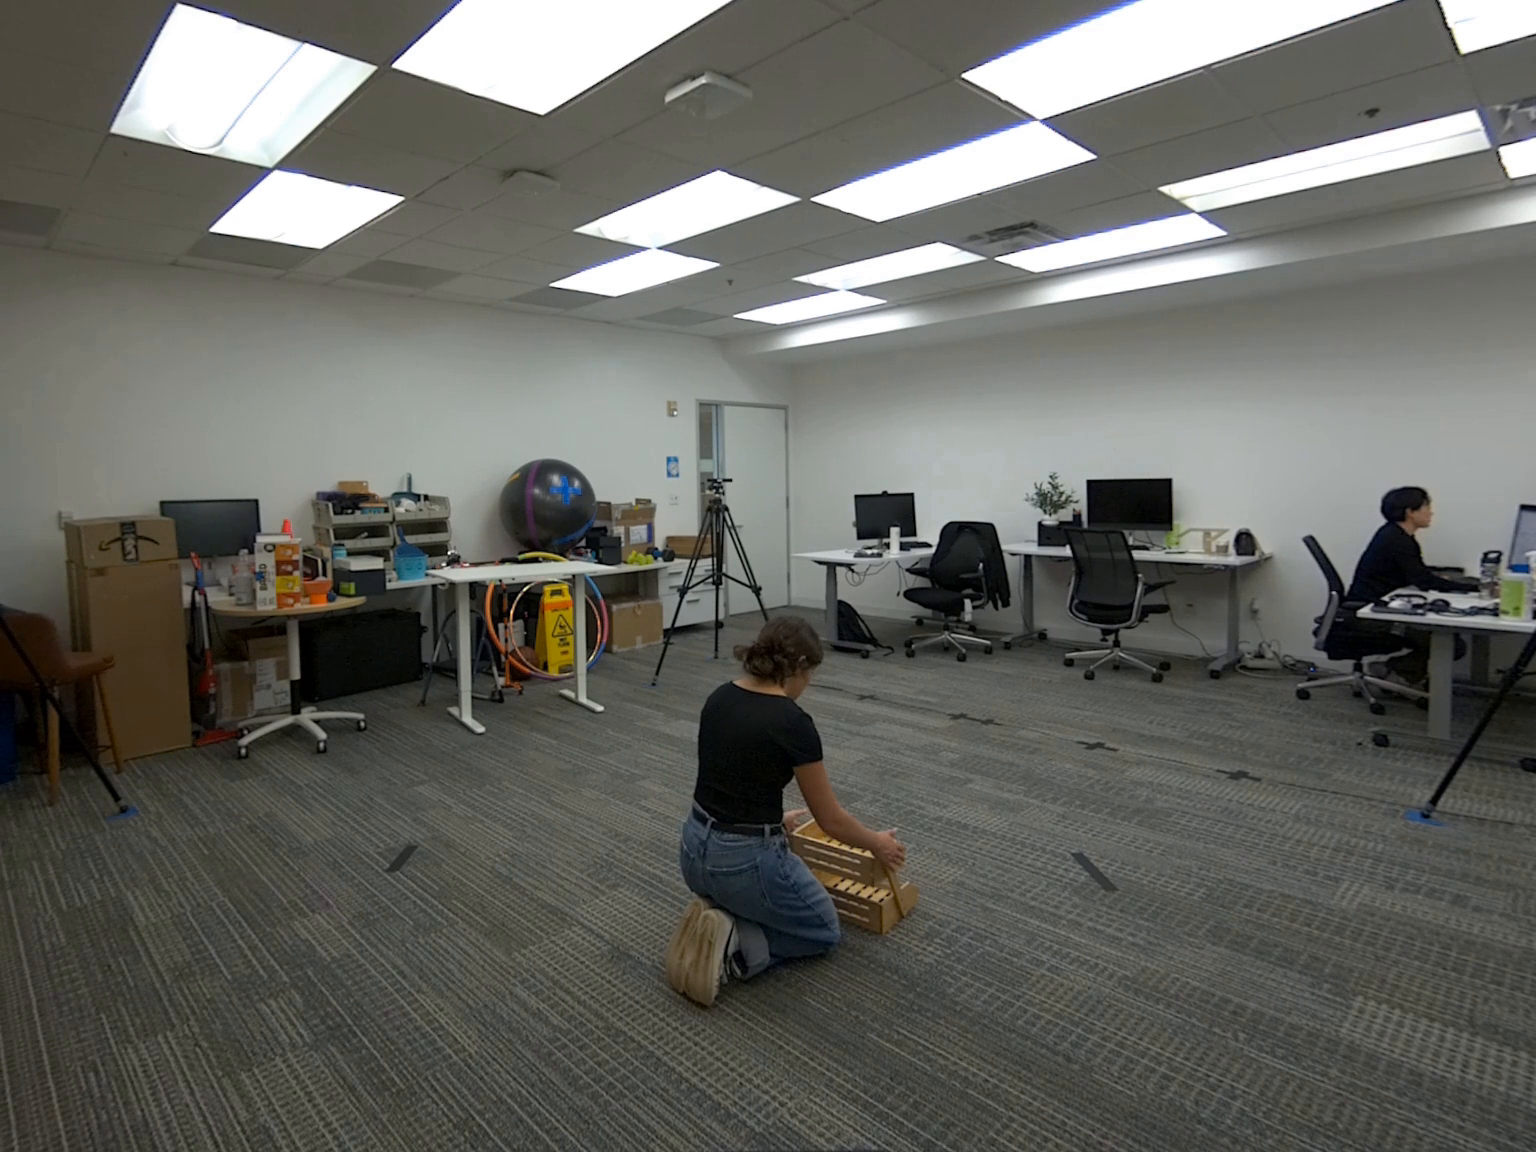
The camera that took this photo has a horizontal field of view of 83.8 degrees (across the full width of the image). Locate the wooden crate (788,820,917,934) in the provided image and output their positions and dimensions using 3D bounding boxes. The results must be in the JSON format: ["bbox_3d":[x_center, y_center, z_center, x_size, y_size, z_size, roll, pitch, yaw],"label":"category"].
[{"bbox_3d":[0.290,0.950,2.771,0.334,0.272,0.294,3,7,37],"label":"wooden crate"}]
